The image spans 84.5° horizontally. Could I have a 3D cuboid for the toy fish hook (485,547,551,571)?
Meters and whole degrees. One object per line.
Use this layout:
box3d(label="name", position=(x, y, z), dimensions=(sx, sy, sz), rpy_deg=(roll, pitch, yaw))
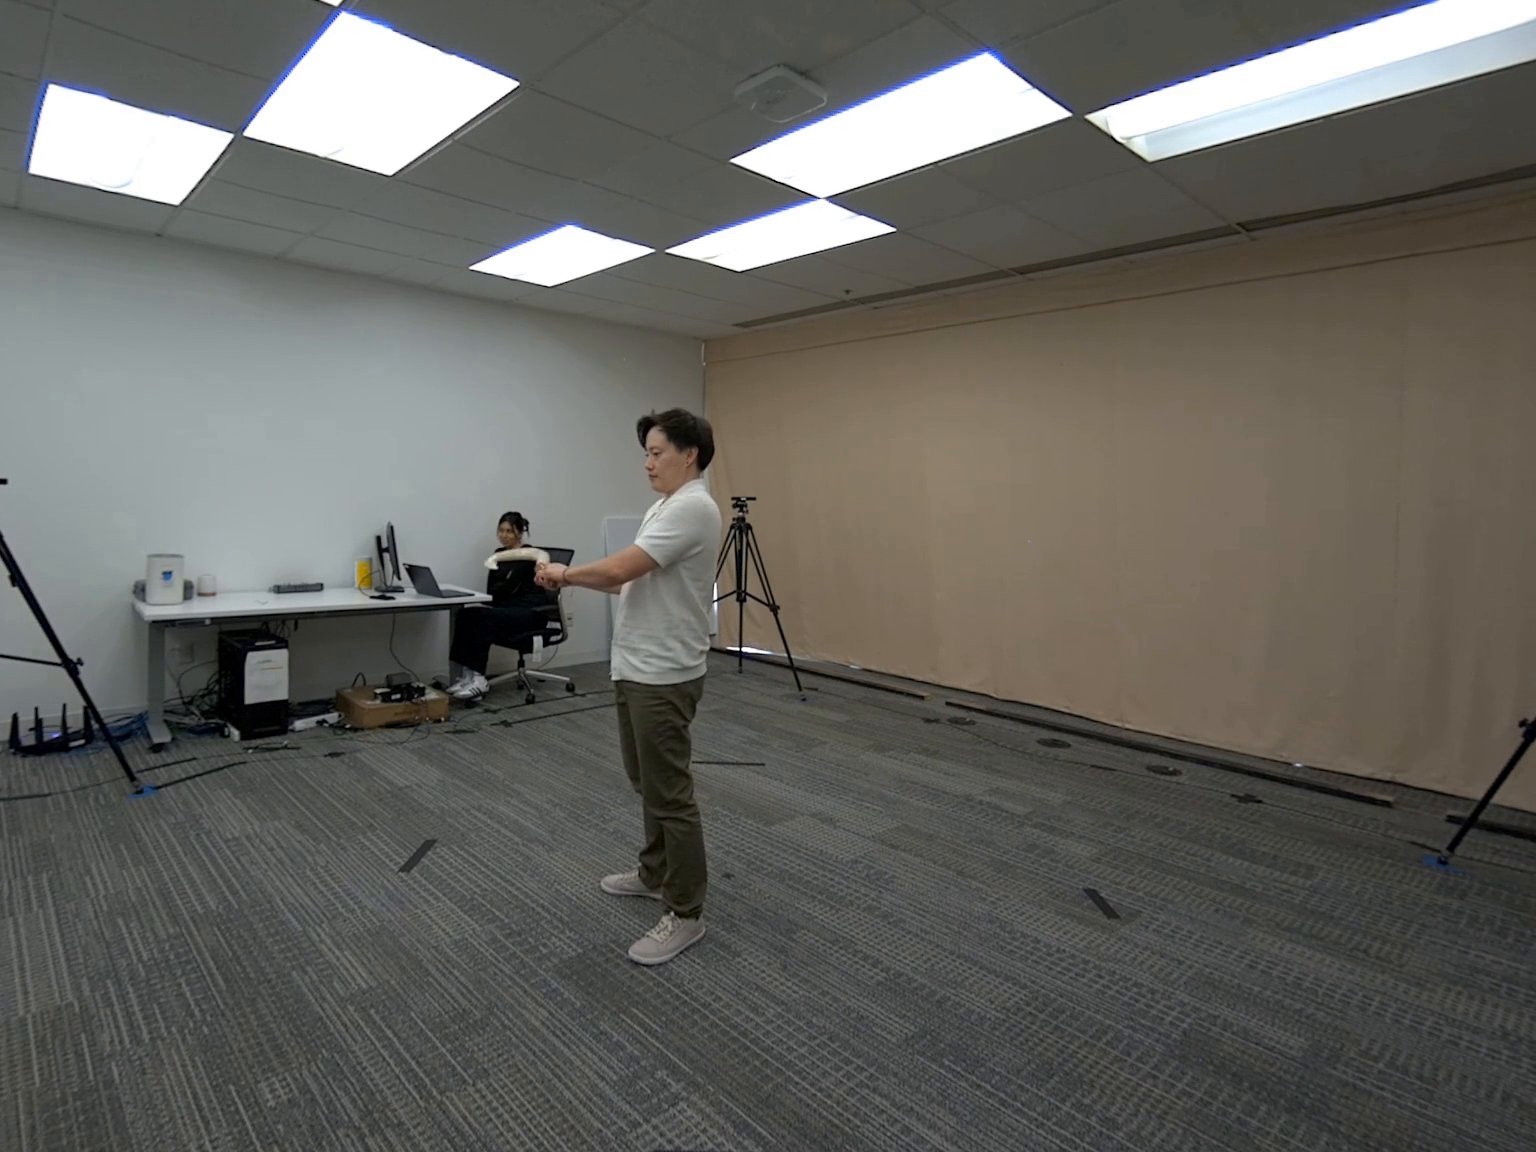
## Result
box3d(label="toy fish hook", position=(-0.811, -0.019, 2.830), dimensions=(0.221, 0.048, 0.520), rpy_deg=(-15, 19, -25))
